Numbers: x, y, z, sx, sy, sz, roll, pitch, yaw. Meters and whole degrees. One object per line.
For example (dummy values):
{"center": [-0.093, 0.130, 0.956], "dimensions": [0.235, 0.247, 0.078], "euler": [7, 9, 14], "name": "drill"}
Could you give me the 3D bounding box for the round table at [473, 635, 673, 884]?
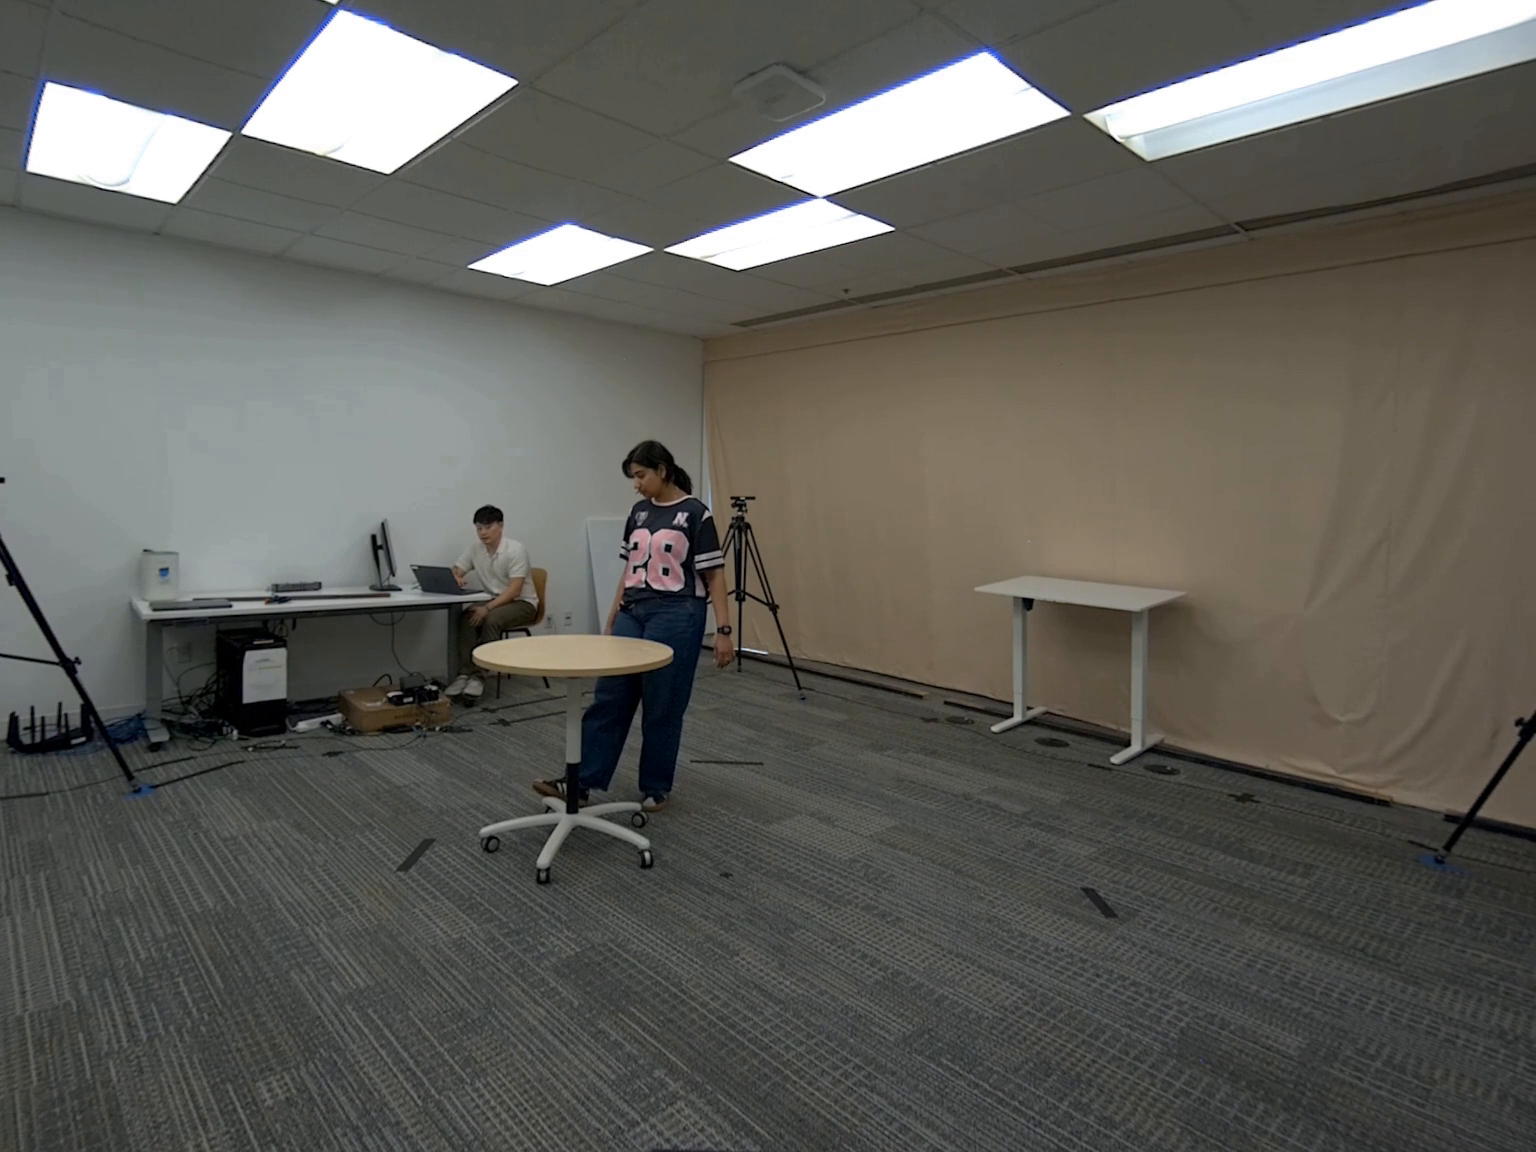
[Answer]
{"center": [-0.773, 0.688, 3.297], "dimensions": [0.763, 0.792, 0.766], "euler": [2, 4, -1], "name": "round table"}
